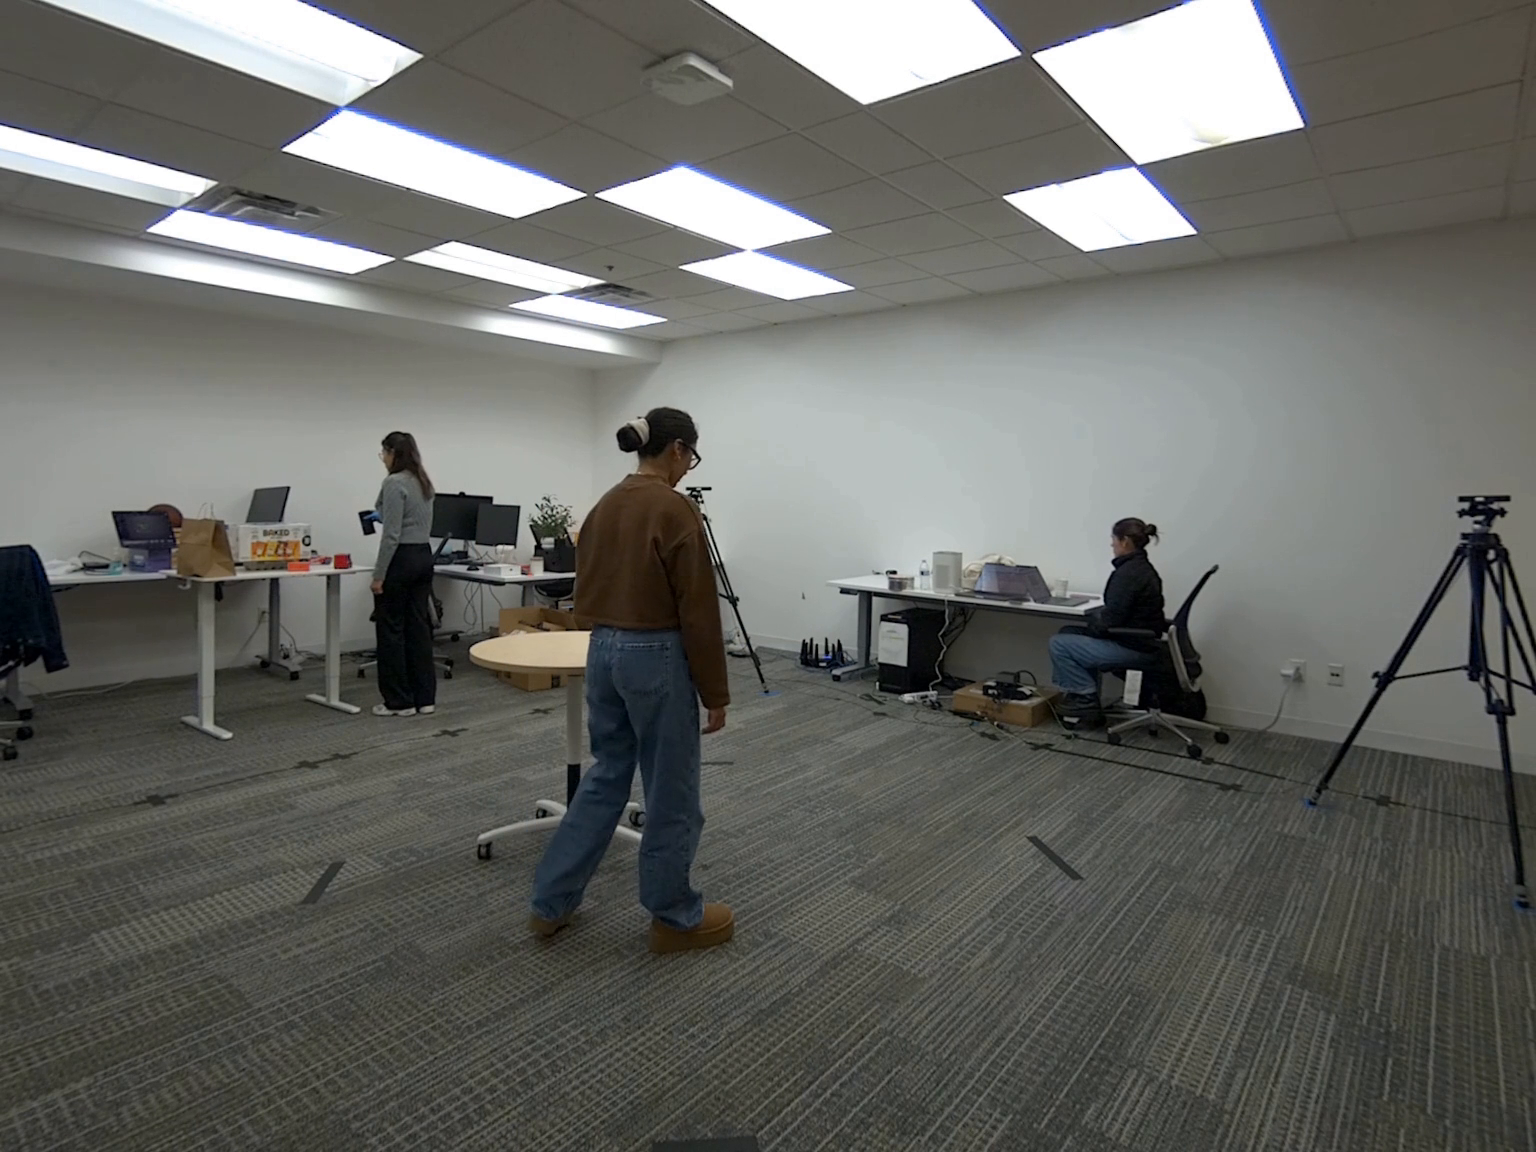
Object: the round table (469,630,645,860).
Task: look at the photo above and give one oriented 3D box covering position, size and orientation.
[{"bbox_3d":[-0.748,0.658,3.217,0.763,0.792,0.767,0,4,-2],"label":"round table"}]
